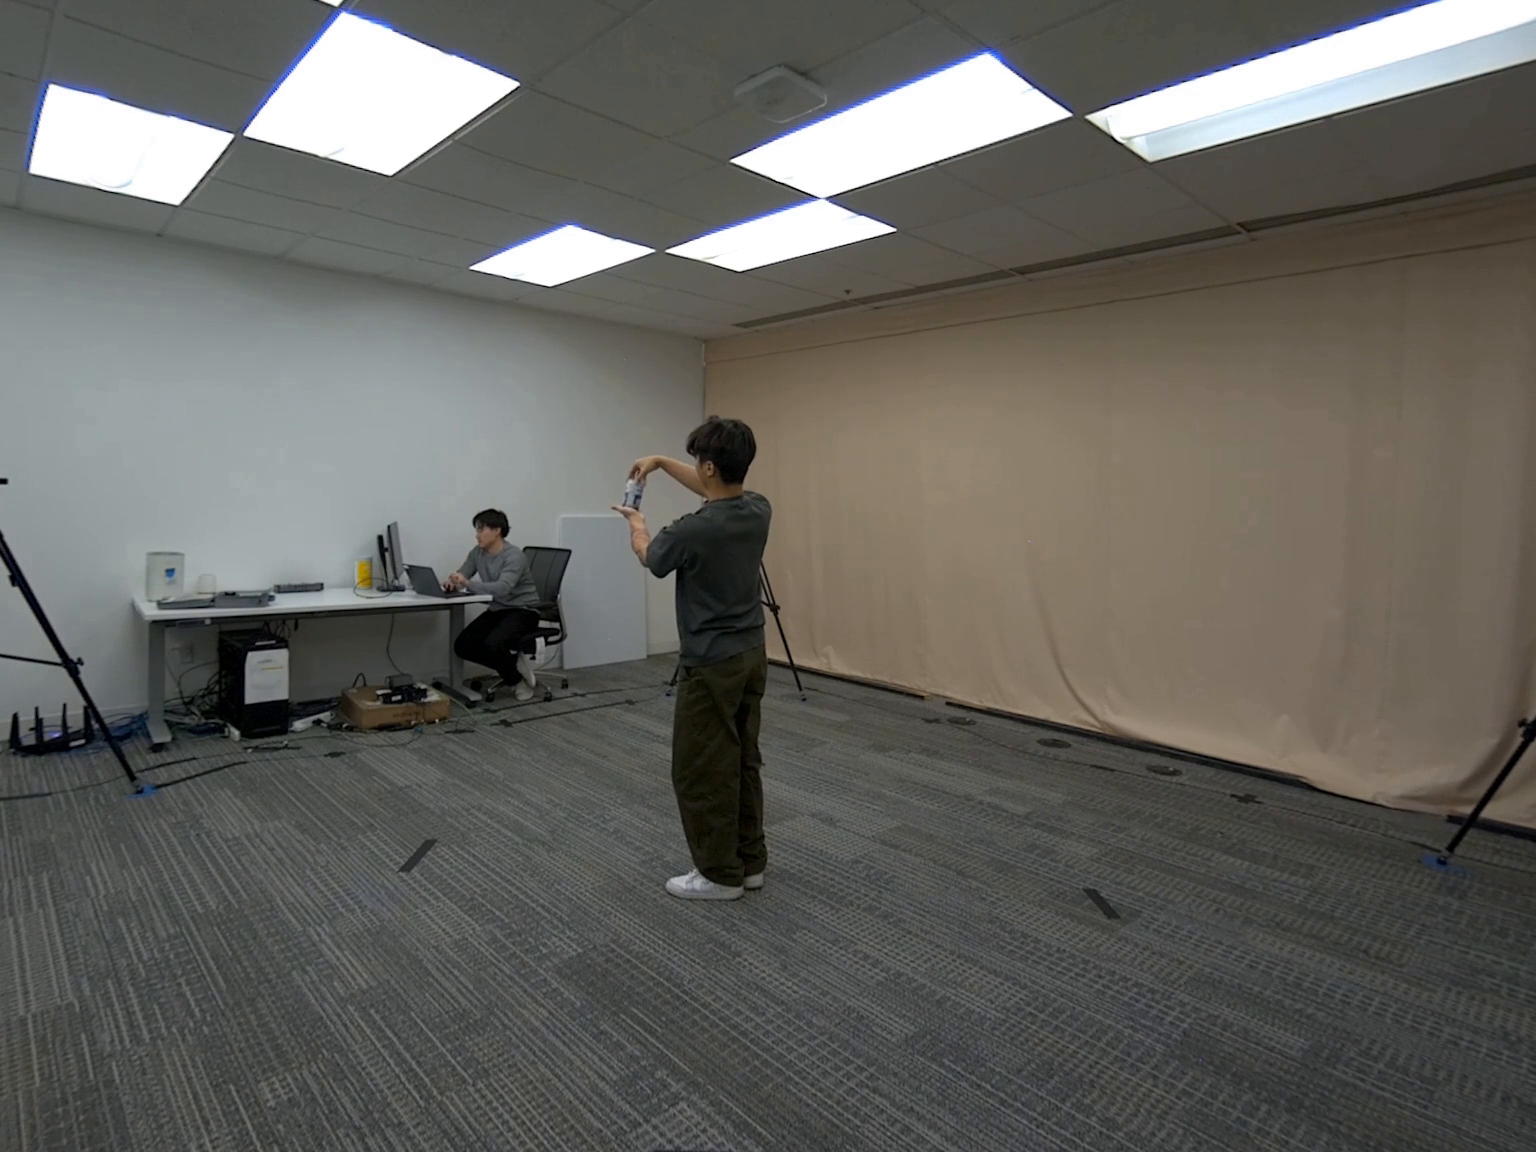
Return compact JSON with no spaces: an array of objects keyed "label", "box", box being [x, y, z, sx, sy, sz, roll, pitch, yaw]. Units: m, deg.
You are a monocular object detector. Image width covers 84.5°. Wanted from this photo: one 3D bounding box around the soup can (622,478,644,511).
[{"label":"soup can","box":[-0.521,-0.308,3.247,0.067,0.121,0.067,10,3,-2]}]
